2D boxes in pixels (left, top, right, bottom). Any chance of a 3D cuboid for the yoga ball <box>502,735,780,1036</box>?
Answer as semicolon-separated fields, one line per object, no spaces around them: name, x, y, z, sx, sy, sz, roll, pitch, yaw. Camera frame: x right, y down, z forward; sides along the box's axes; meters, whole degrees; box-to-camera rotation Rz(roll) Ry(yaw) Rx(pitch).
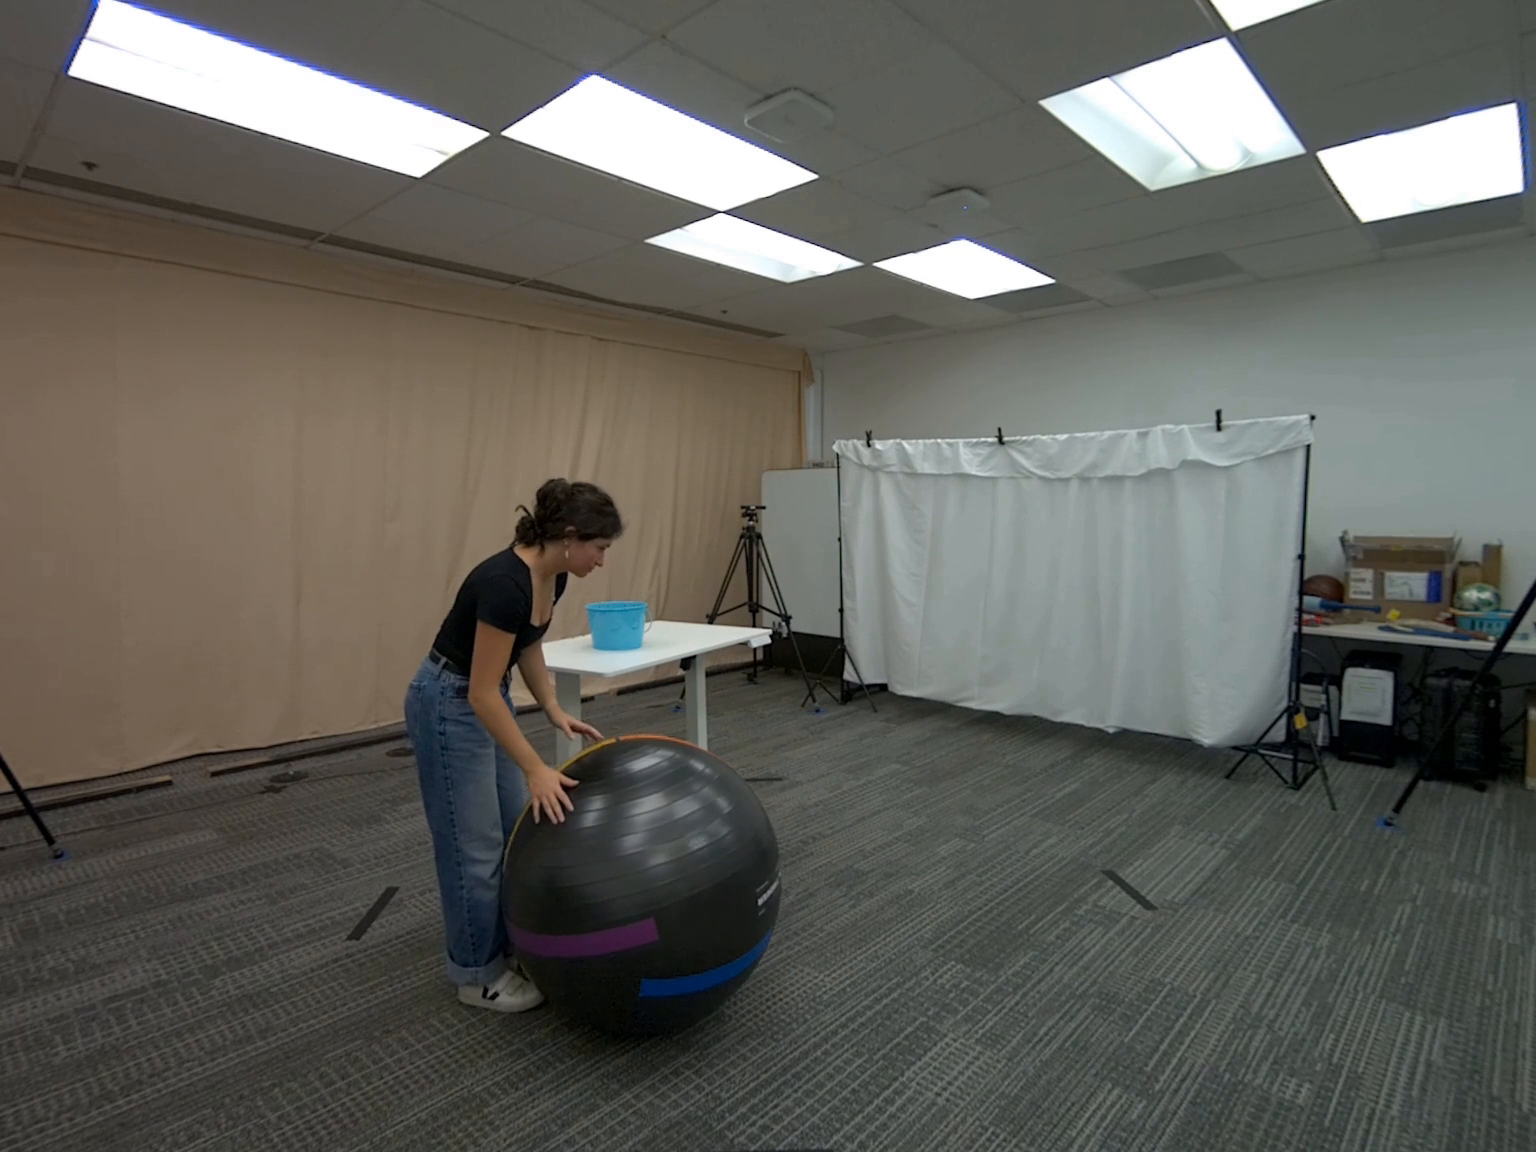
yoga ball;-0.342;0.847;2.298;0.757;0.756;0.760;0;4;-2
